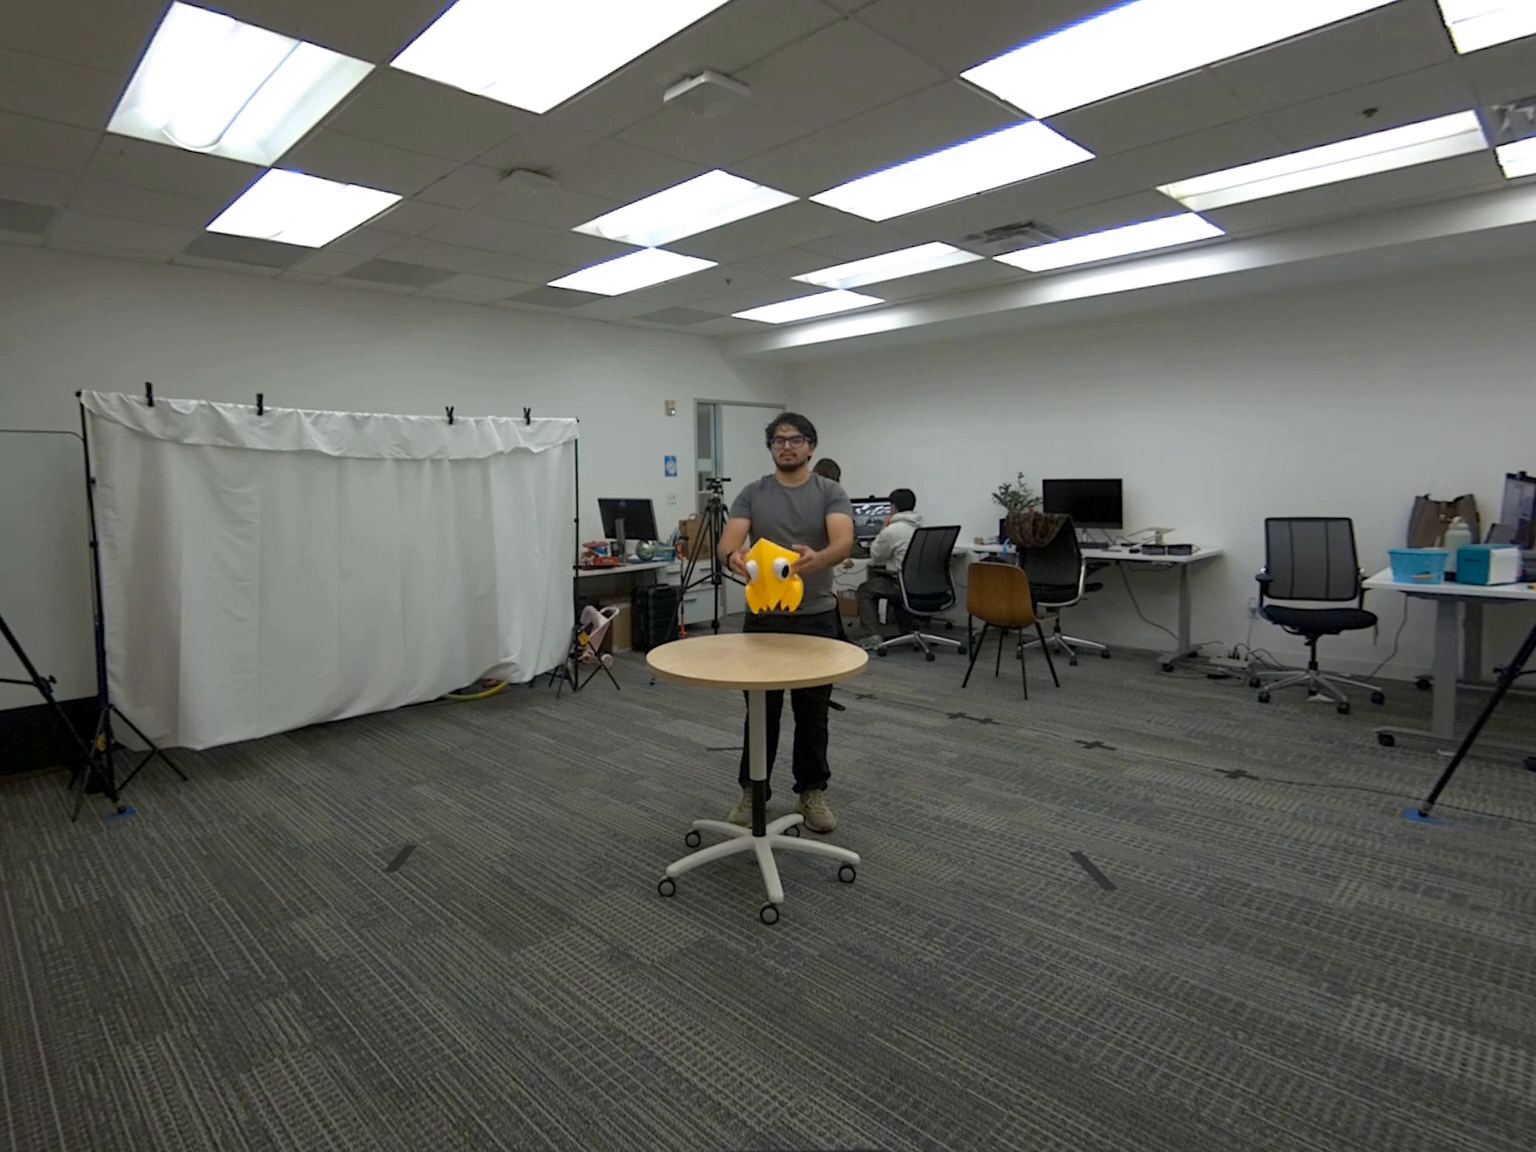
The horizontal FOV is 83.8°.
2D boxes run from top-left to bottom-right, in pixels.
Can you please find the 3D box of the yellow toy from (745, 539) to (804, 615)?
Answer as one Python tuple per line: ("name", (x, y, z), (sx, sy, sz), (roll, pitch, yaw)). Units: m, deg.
("yellow toy", (-0.004, -0.018, 2.934), (0.208, 0.197, 0.222), (-4, -39, 15))
